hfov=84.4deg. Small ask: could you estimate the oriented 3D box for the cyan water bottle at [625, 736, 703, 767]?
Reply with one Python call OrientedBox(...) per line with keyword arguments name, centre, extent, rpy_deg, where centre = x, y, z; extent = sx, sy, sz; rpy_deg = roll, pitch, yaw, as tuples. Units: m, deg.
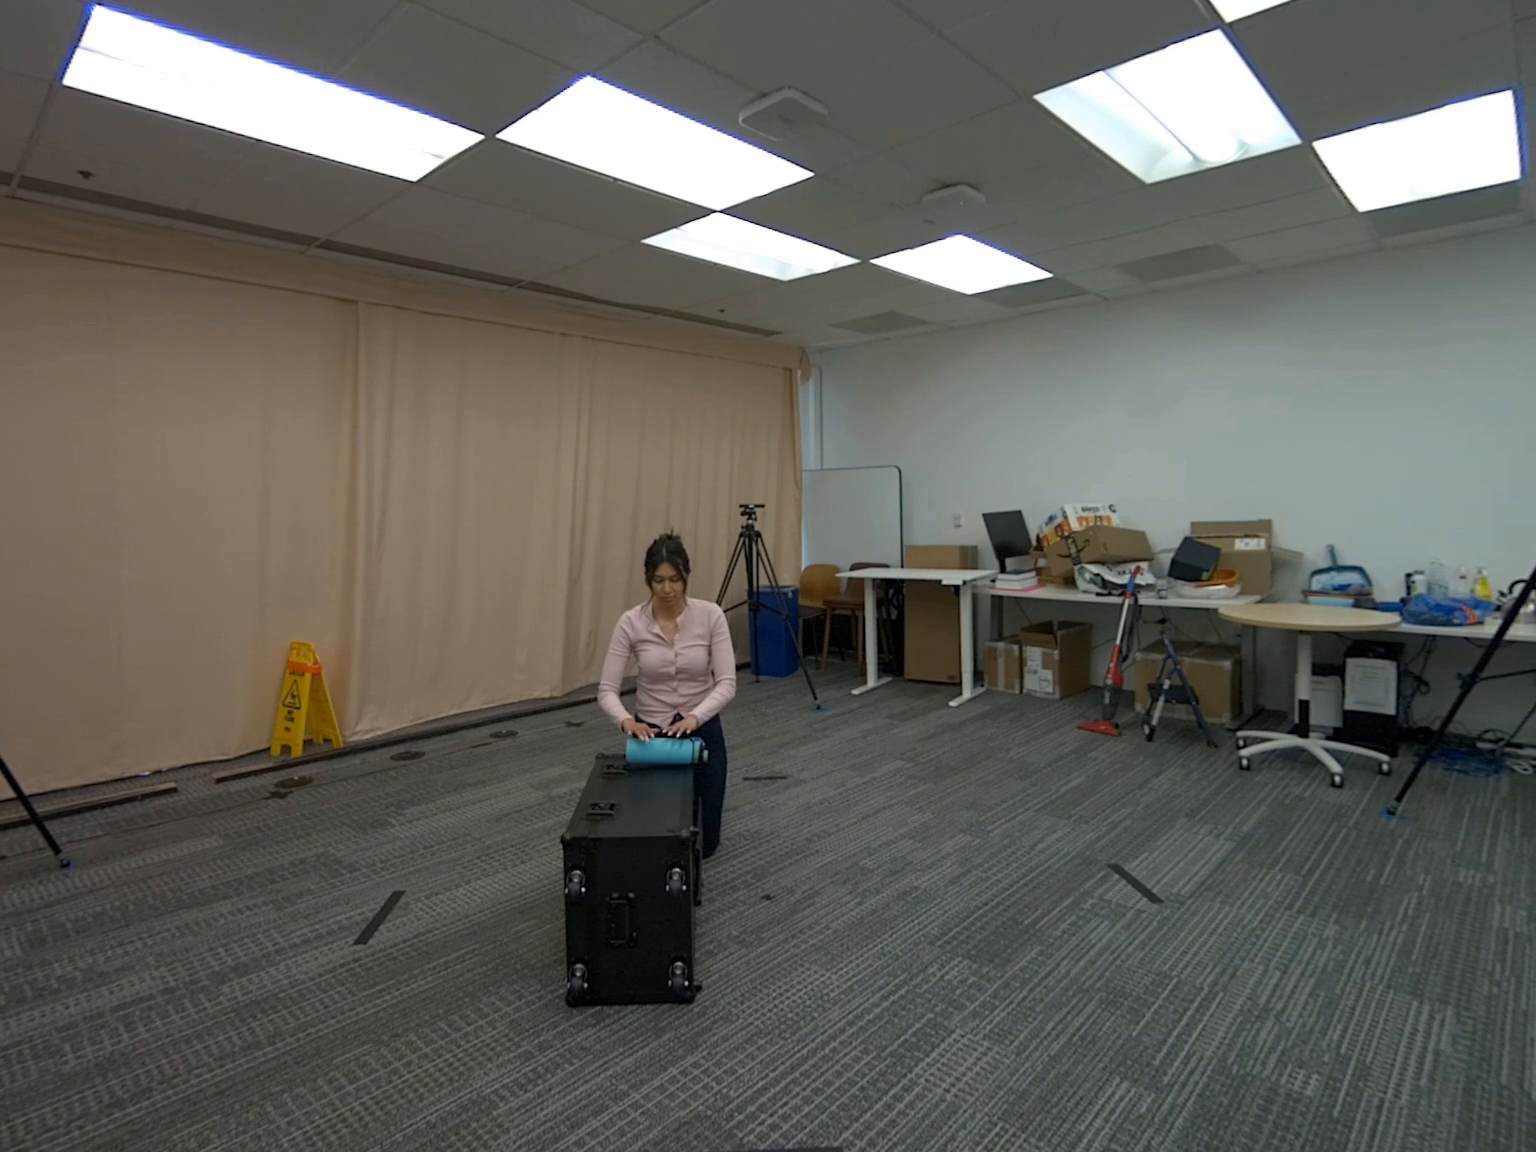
OrientedBox(name="cyan water bottle", centre=(-0.362, 0.618, 2.962), extent=(0.283, 0.092, 0.092), rpy_deg=(3, 4, -1))
